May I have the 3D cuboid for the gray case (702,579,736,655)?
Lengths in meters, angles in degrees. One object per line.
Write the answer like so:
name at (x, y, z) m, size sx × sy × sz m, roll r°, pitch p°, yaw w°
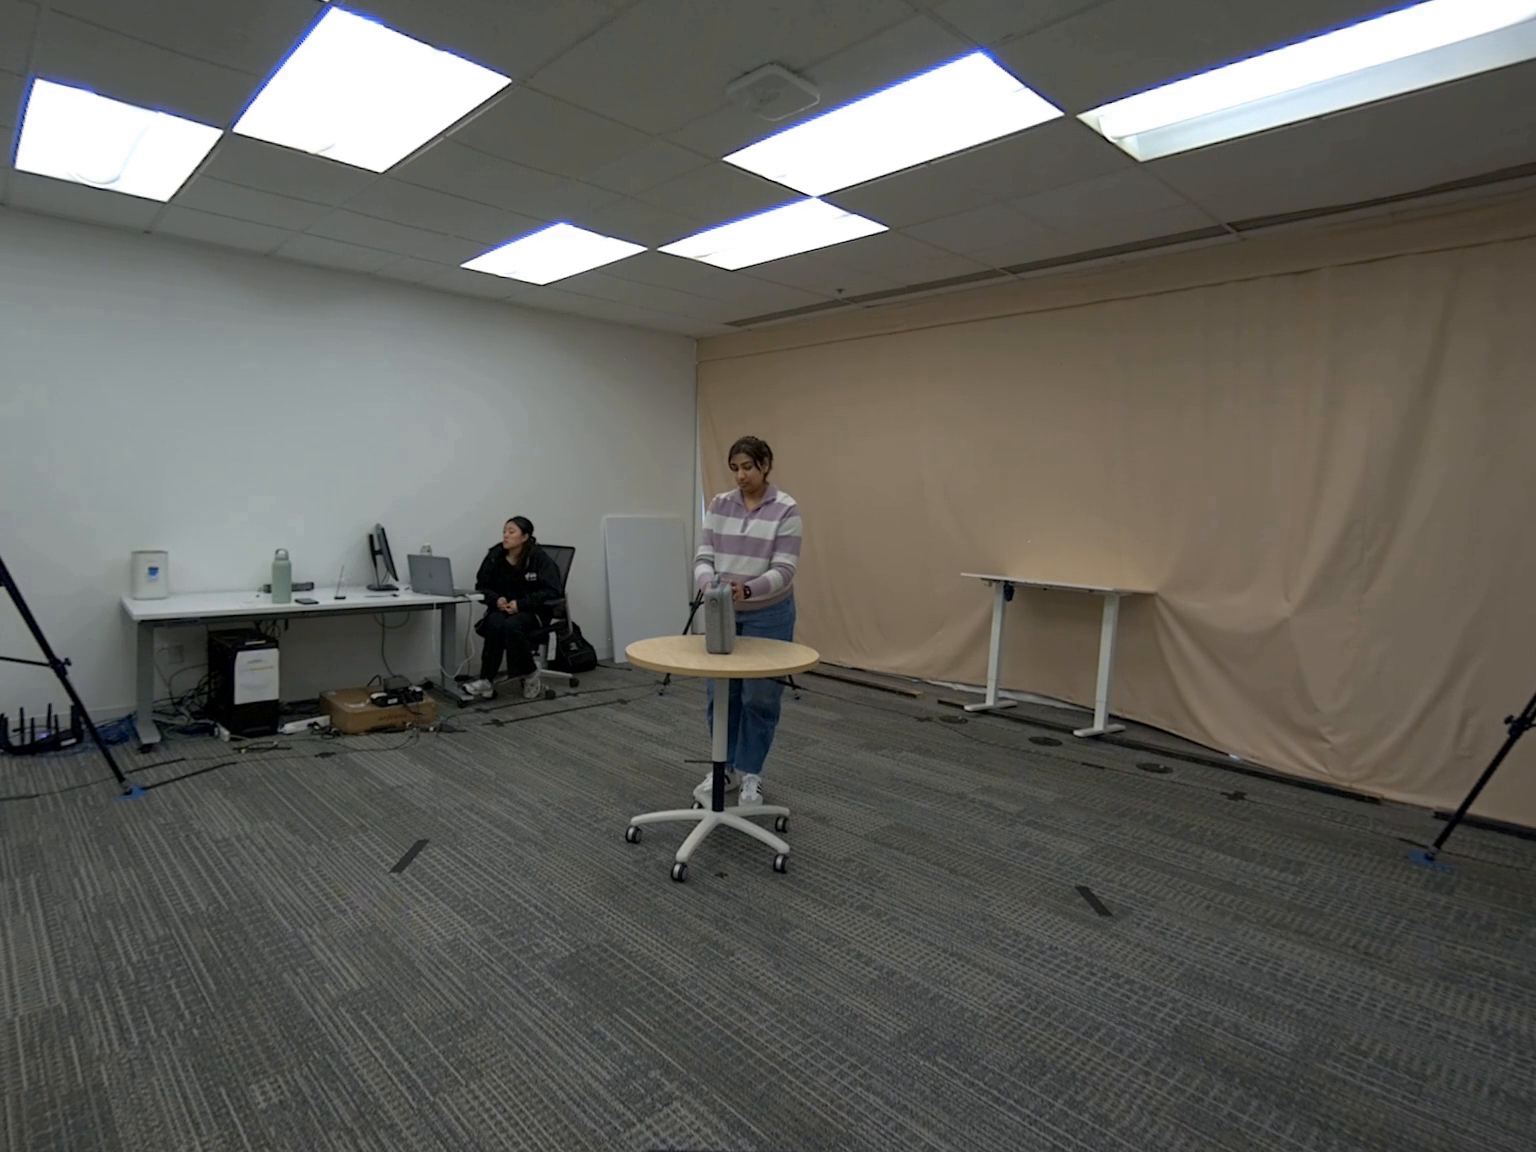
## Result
gray case at (-0.210, 0.164, 3.359) m, size 0.104 × 0.260 × 0.257 m, roll -2°, pitch 5°, yaw 1°
